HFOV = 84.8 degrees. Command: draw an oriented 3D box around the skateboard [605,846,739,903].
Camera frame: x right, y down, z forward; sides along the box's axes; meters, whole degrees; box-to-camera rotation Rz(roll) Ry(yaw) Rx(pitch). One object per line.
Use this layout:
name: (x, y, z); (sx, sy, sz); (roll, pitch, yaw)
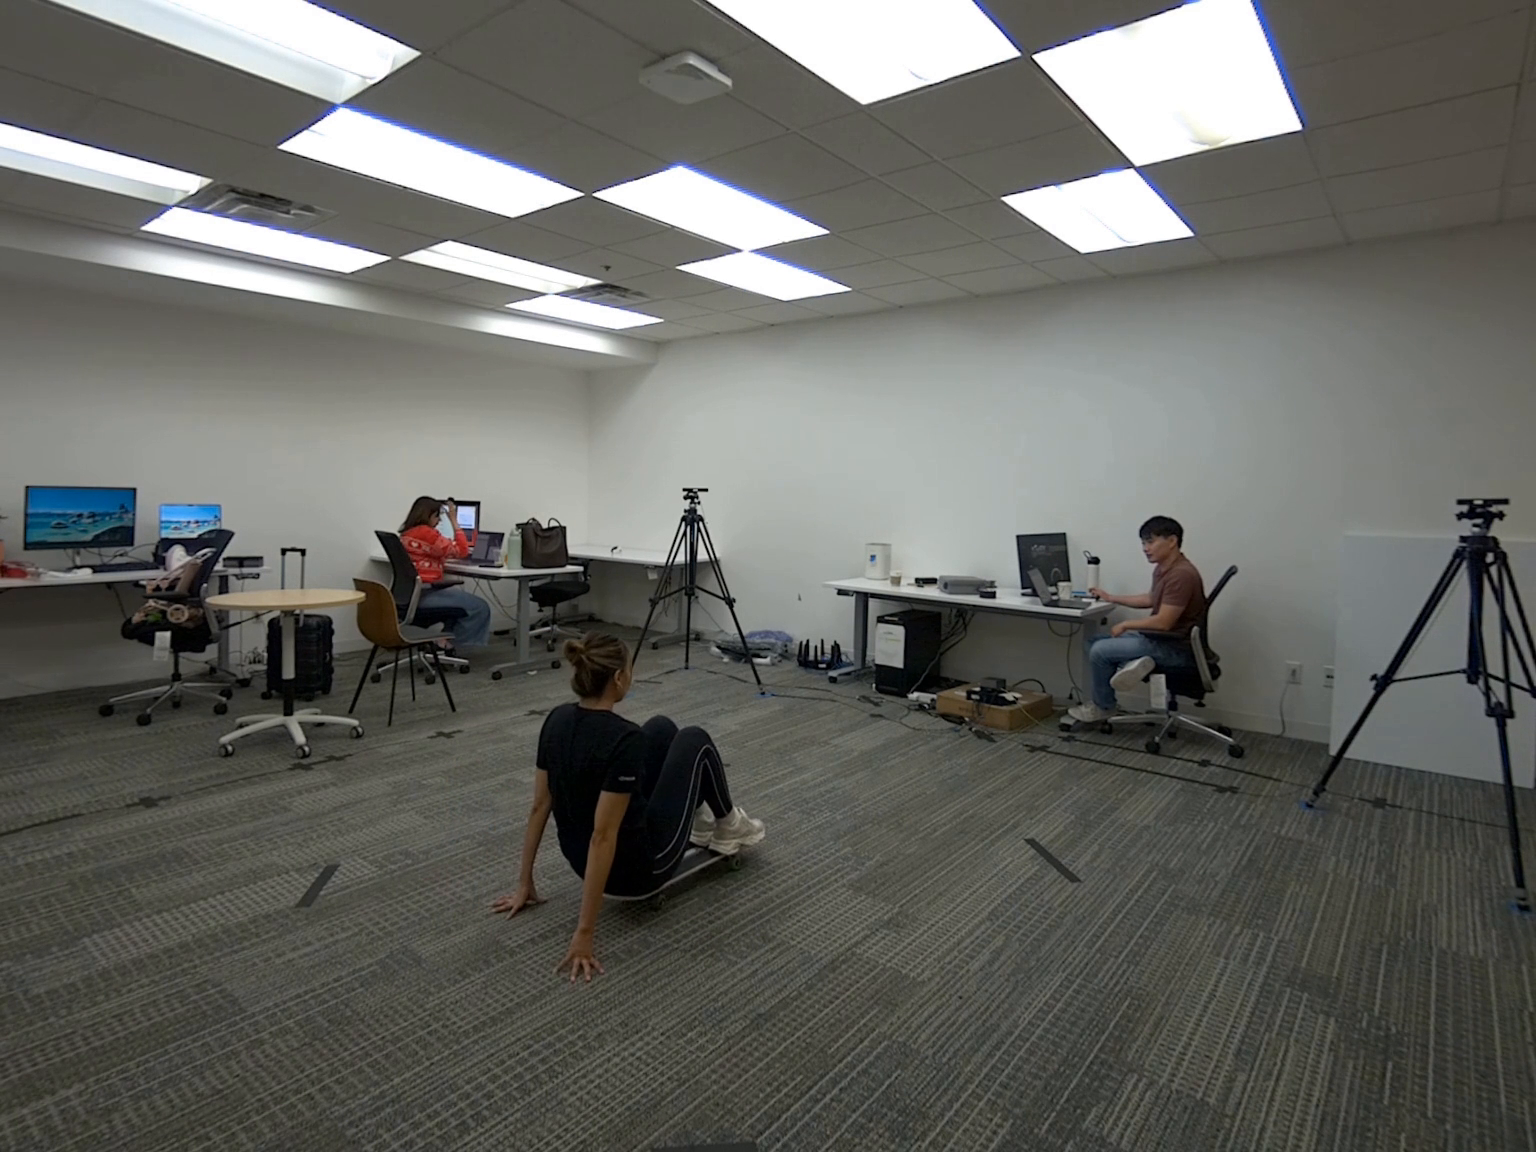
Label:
skateboard: (-0.306, 1.035, 2.999); (0.200, 0.110, 0.763); (4, 7, 37)
